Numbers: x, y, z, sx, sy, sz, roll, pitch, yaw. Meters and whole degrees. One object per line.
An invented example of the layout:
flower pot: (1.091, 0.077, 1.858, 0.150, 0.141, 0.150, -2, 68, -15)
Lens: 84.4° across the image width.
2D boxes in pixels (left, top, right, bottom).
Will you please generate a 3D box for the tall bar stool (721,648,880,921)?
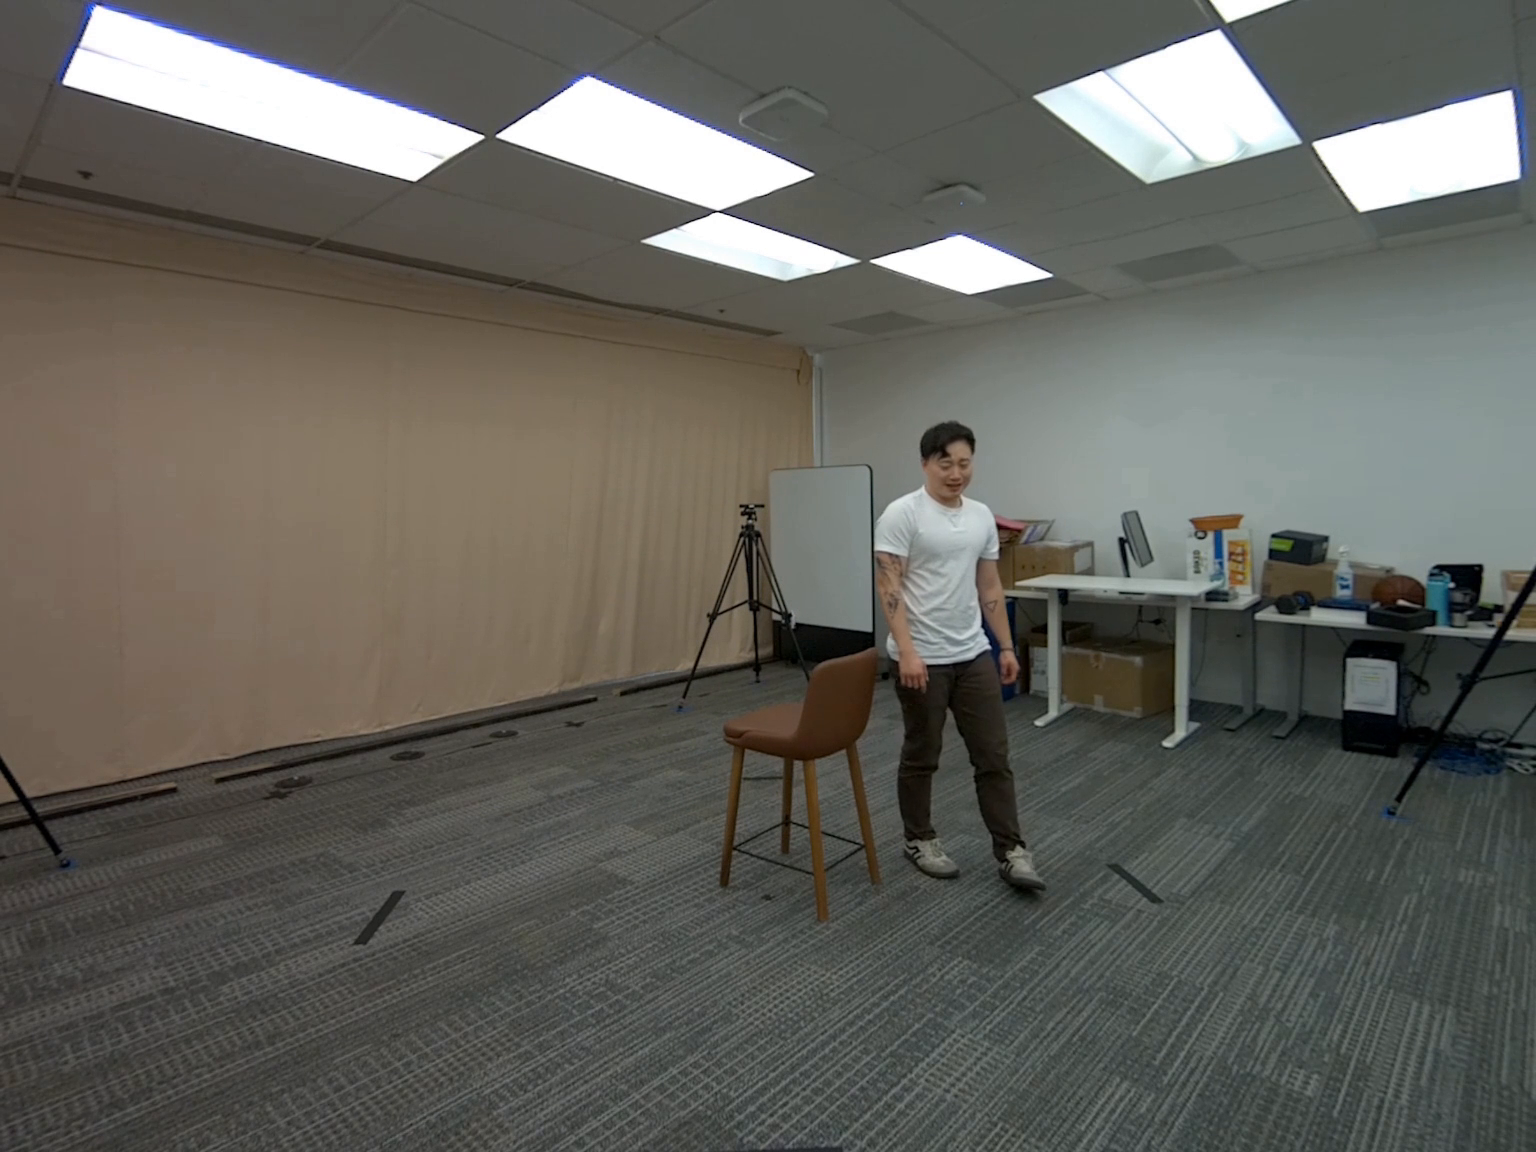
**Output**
tall bar stool: (0.121, 0.697, 3.052, 0.483, 0.887, 0.443, 4, 6, 38)
